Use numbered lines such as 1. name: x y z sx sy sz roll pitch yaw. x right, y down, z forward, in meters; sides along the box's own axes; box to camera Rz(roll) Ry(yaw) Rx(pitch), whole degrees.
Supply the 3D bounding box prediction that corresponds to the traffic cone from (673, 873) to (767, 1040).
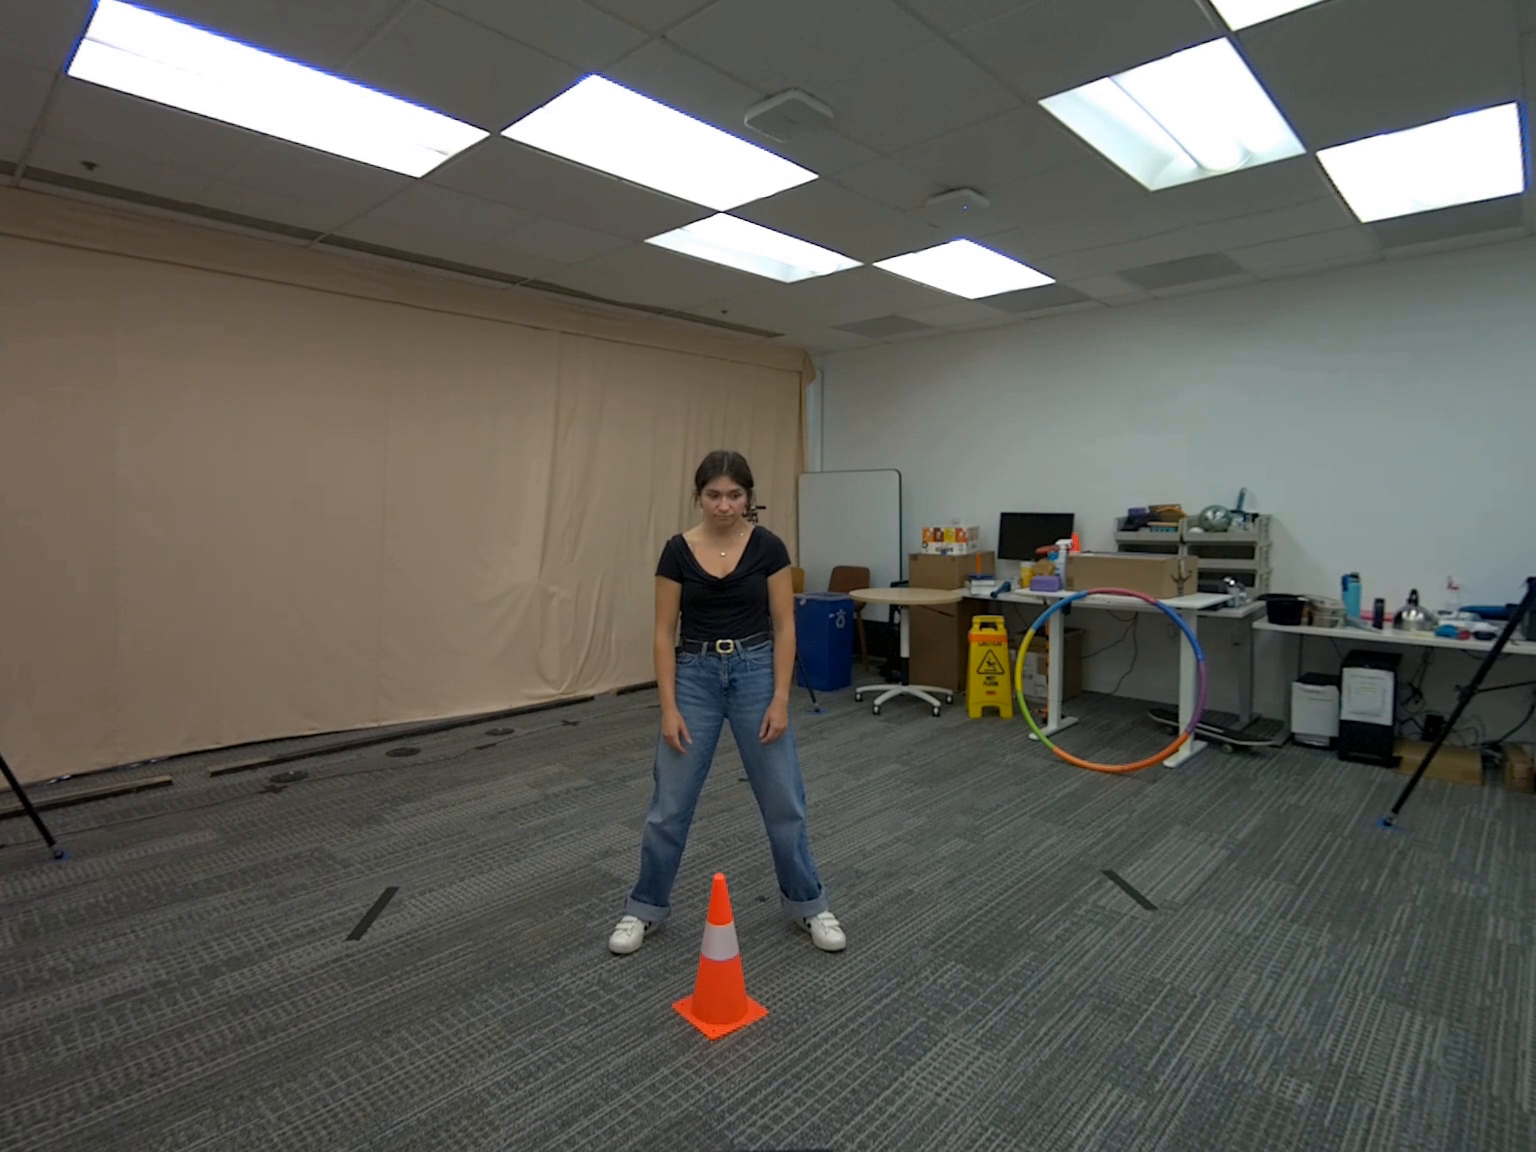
1. traffic cone: -0.126 1.018 2.306 0.198 0.382 0.211 -4 7 -32
